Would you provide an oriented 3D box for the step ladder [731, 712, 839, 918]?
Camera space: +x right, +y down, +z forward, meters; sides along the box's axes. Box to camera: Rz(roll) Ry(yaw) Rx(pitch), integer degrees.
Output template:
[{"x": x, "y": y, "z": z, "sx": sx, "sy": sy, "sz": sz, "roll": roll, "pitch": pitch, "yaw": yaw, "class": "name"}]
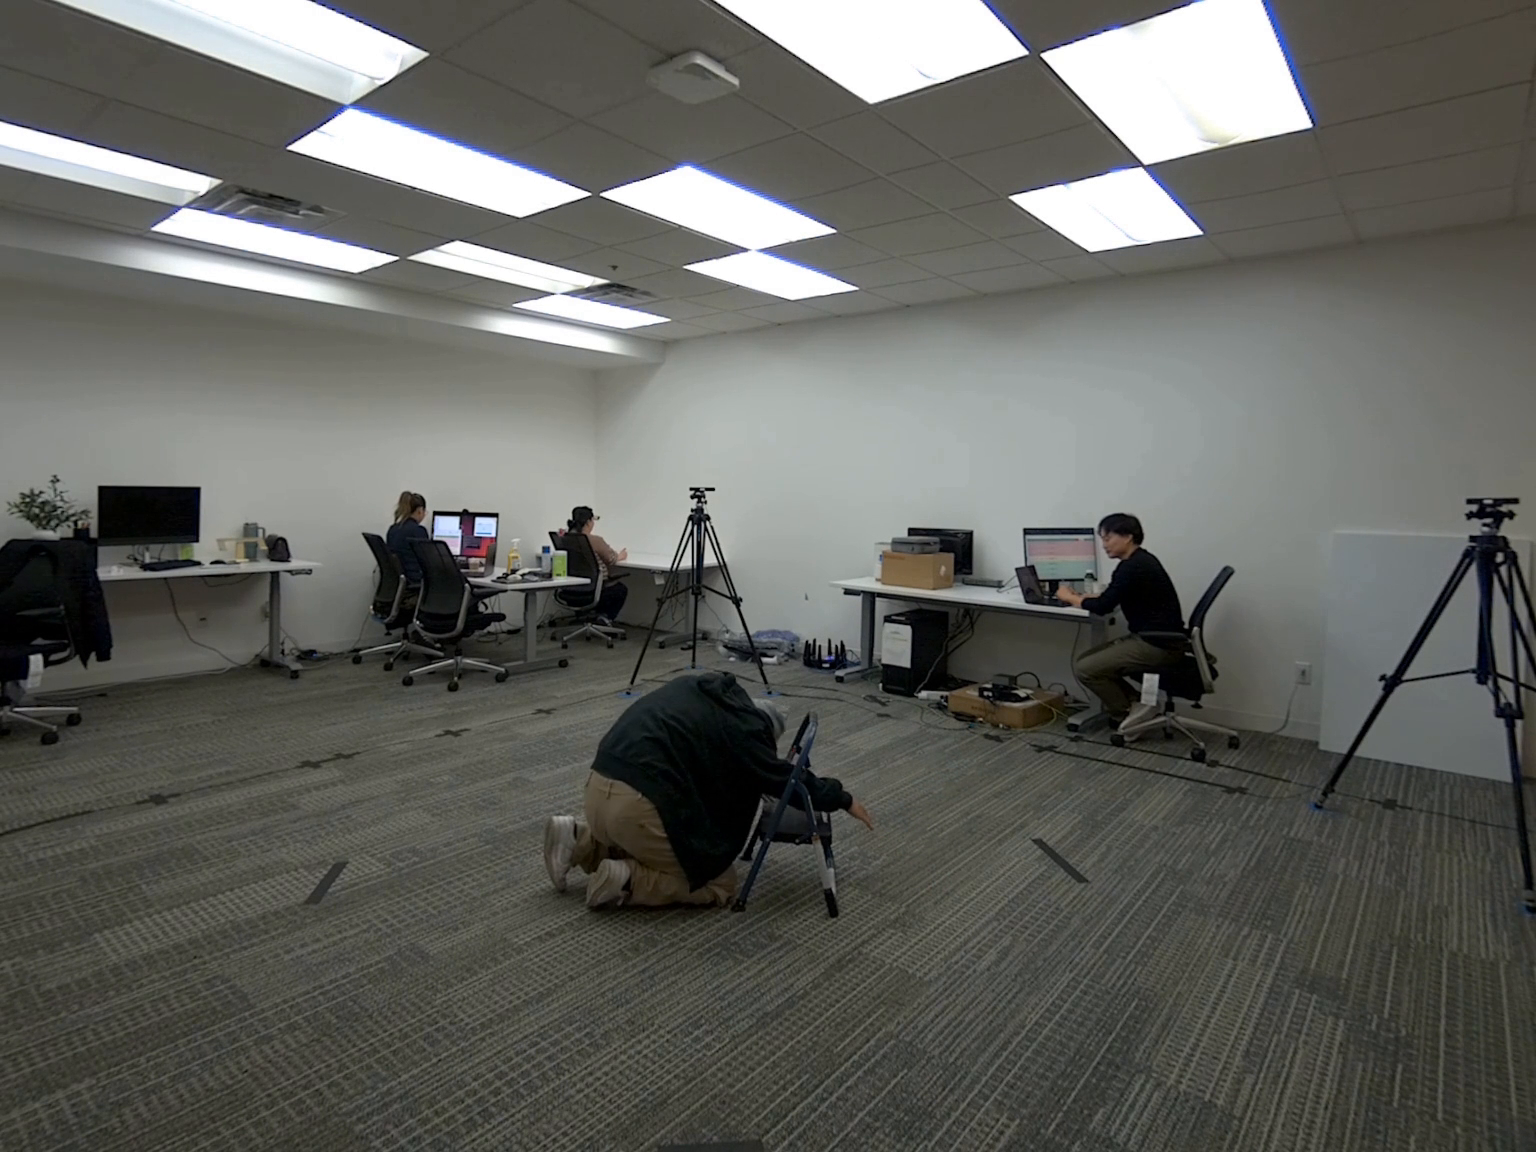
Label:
[{"x": 0.062, "y": 0.786, "z": 2.971, "sx": 0.350, "sy": 0.604, "sz": 0.431, "roll": 2, "pitch": 3, "yaw": 1, "class": "step ladder"}]
